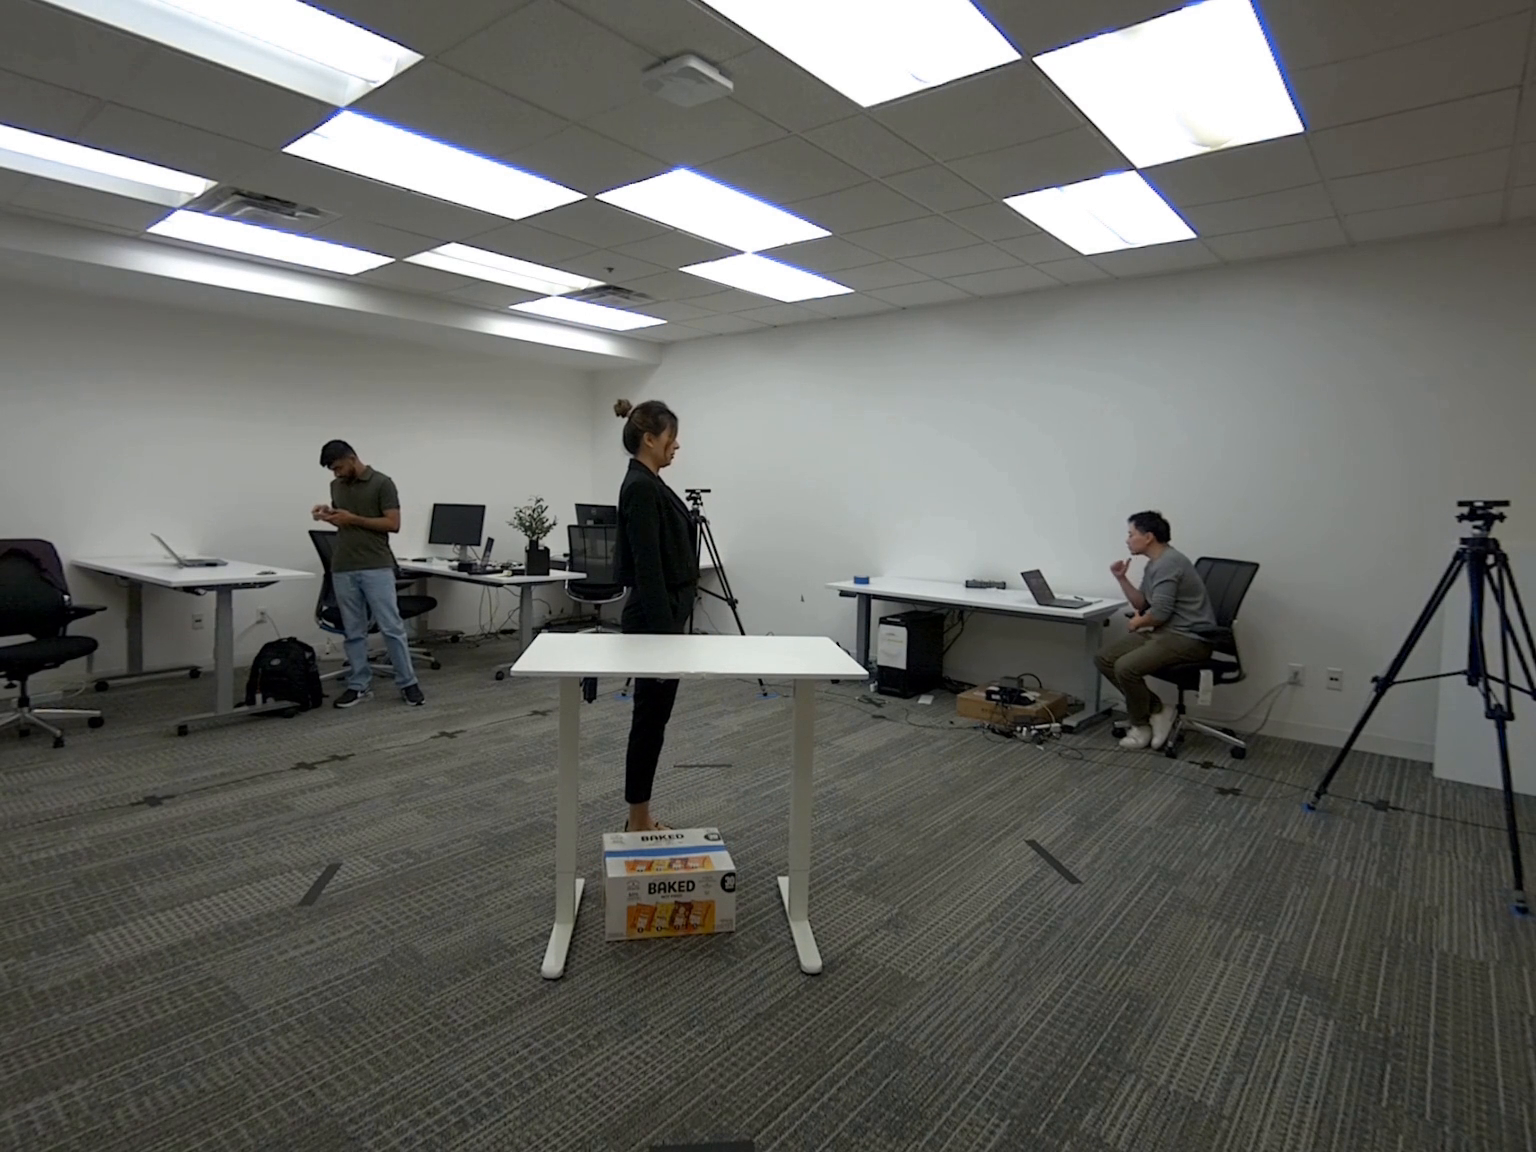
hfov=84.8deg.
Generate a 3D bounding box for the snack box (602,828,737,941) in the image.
[{"bbox_3d":[-0.343,1.001,2.795,0.400,0.205,0.346,0,5,-12],"label":"snack box"}]
